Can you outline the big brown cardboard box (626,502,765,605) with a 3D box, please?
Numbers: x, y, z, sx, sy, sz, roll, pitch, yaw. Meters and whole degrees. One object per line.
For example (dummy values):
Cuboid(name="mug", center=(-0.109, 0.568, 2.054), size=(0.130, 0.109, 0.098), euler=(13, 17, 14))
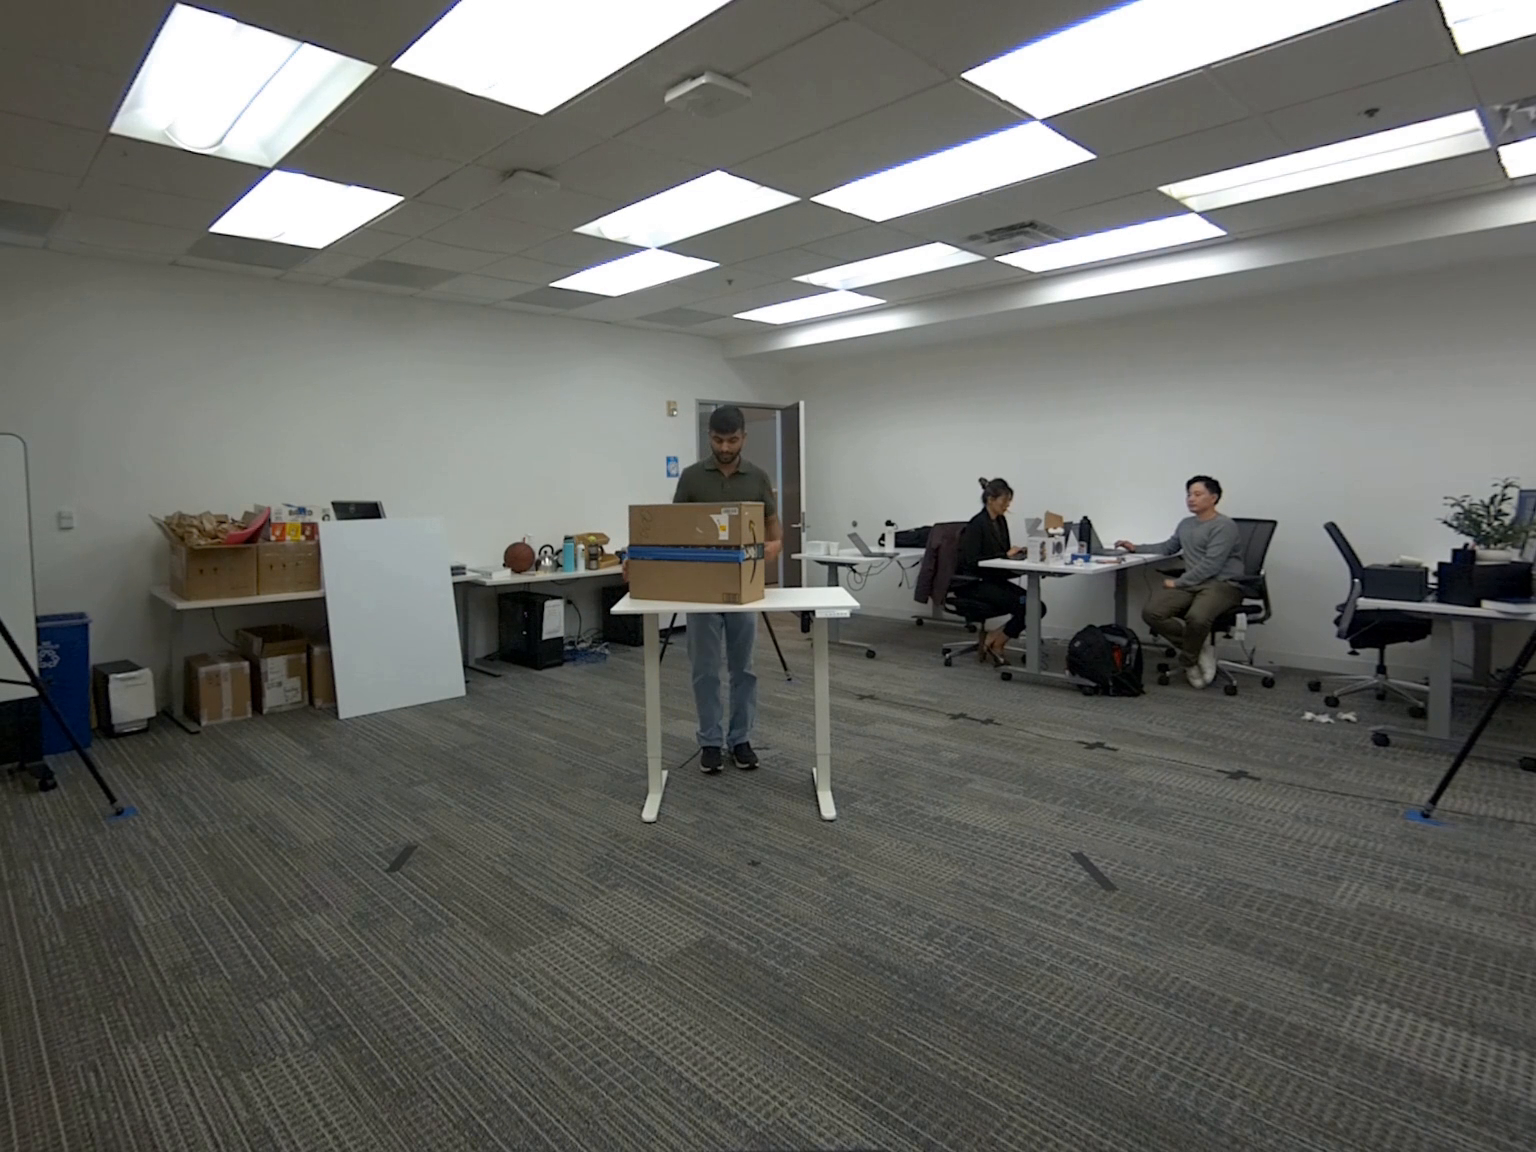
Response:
Cuboid(name="big brown cardboard box", center=(-0.315, -0.103, 3.709), size=(0.604, 0.417, 0.228), euler=(1, 3, 29))
